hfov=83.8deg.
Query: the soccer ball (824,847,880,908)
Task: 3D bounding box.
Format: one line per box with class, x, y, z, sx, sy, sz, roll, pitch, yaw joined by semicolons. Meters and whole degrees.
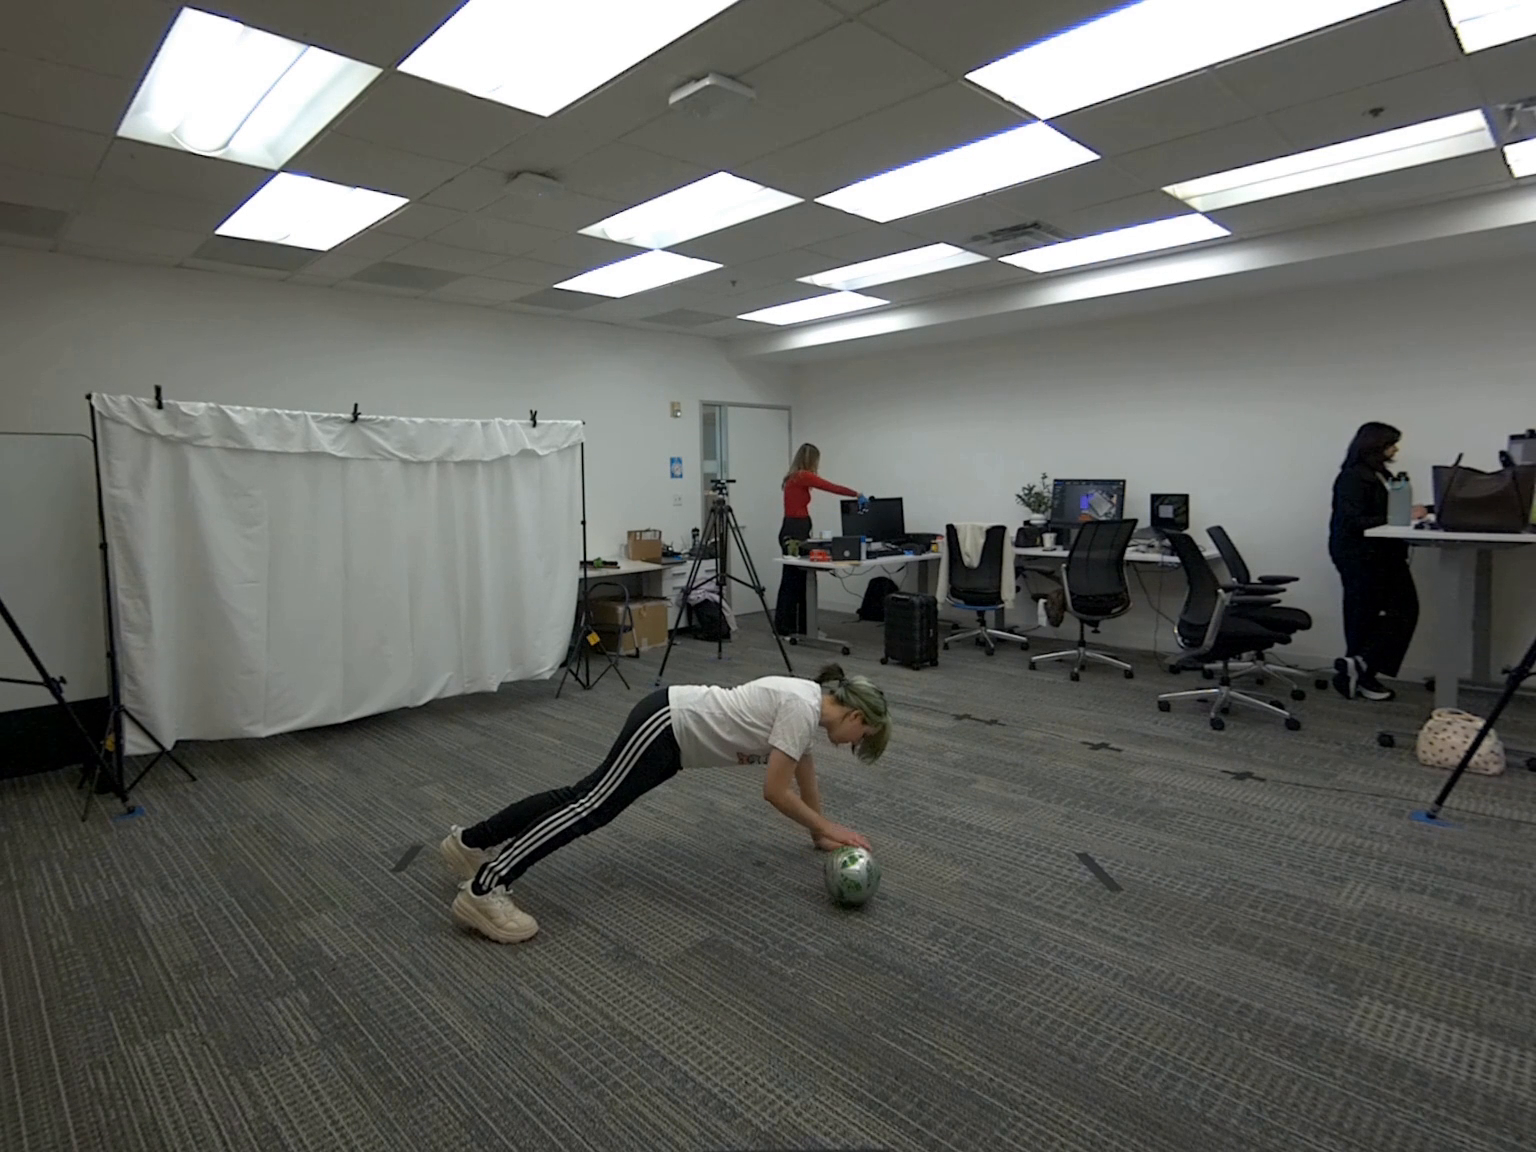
soccer ball;0.268;0.976;2.801;0.187;0.187;0.188;-1;5;-2
